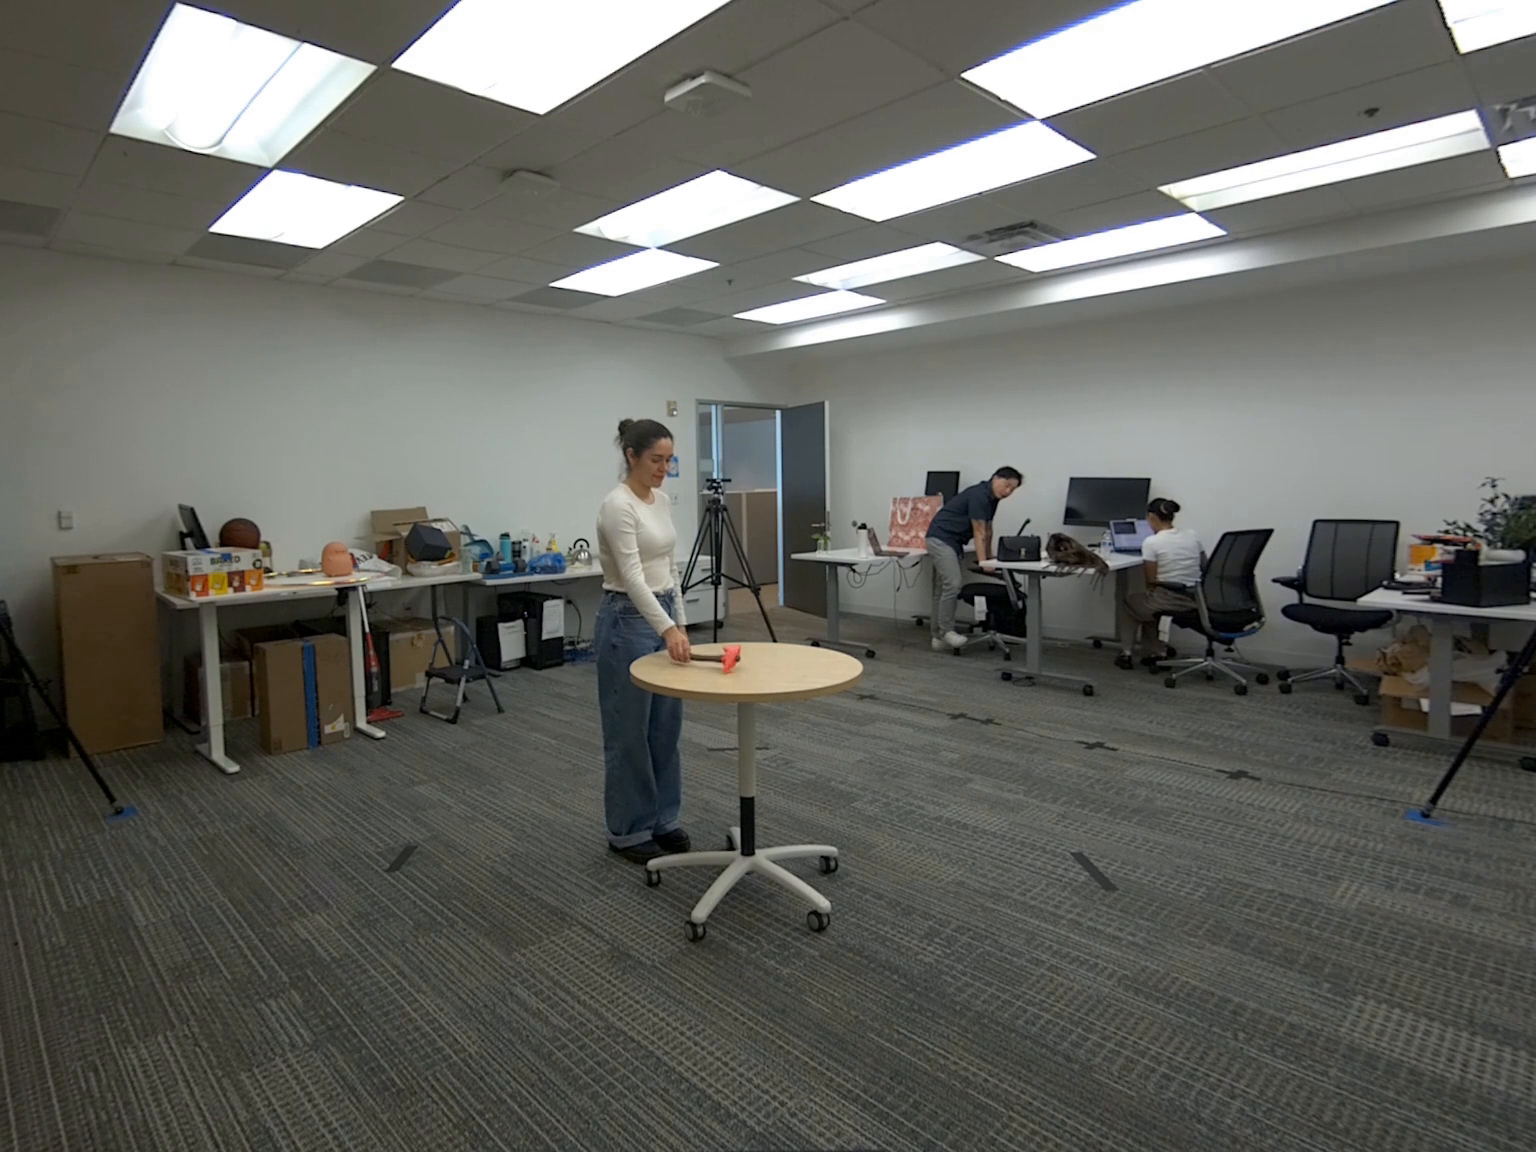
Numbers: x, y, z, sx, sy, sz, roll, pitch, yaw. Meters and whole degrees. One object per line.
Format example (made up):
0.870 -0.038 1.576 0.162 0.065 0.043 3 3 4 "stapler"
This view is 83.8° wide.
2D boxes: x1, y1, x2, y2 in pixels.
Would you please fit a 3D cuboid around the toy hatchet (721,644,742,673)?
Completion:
-0.192 0.234 2.799 0.279 0.029 0.130 12 43 44 "toy hatchet"
